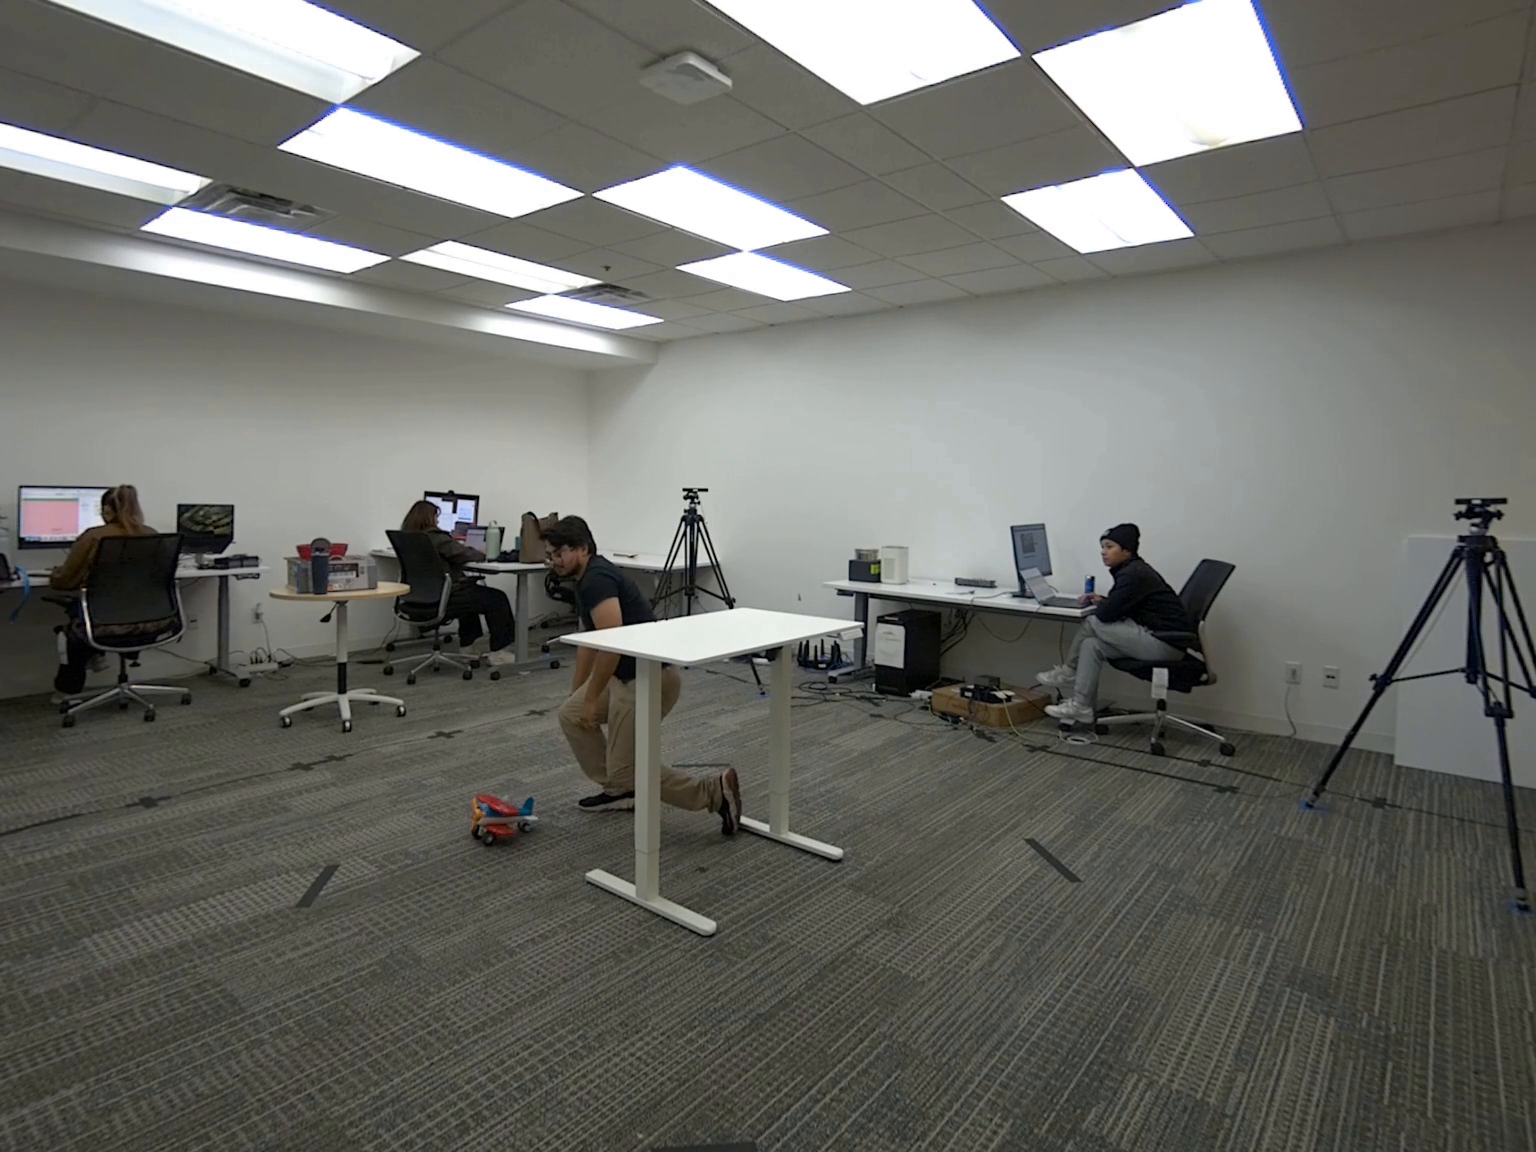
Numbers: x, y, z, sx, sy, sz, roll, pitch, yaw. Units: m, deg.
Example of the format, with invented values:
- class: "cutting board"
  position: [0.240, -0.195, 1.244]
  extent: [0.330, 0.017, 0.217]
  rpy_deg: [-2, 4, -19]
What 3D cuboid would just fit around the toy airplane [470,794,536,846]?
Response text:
- class: "toy airplane"
  position: [-1.078, 0.957, 3.387]
  extent: [0.256, 0.156, 0.255]
  rpy_deg: [3, 6, 17]
